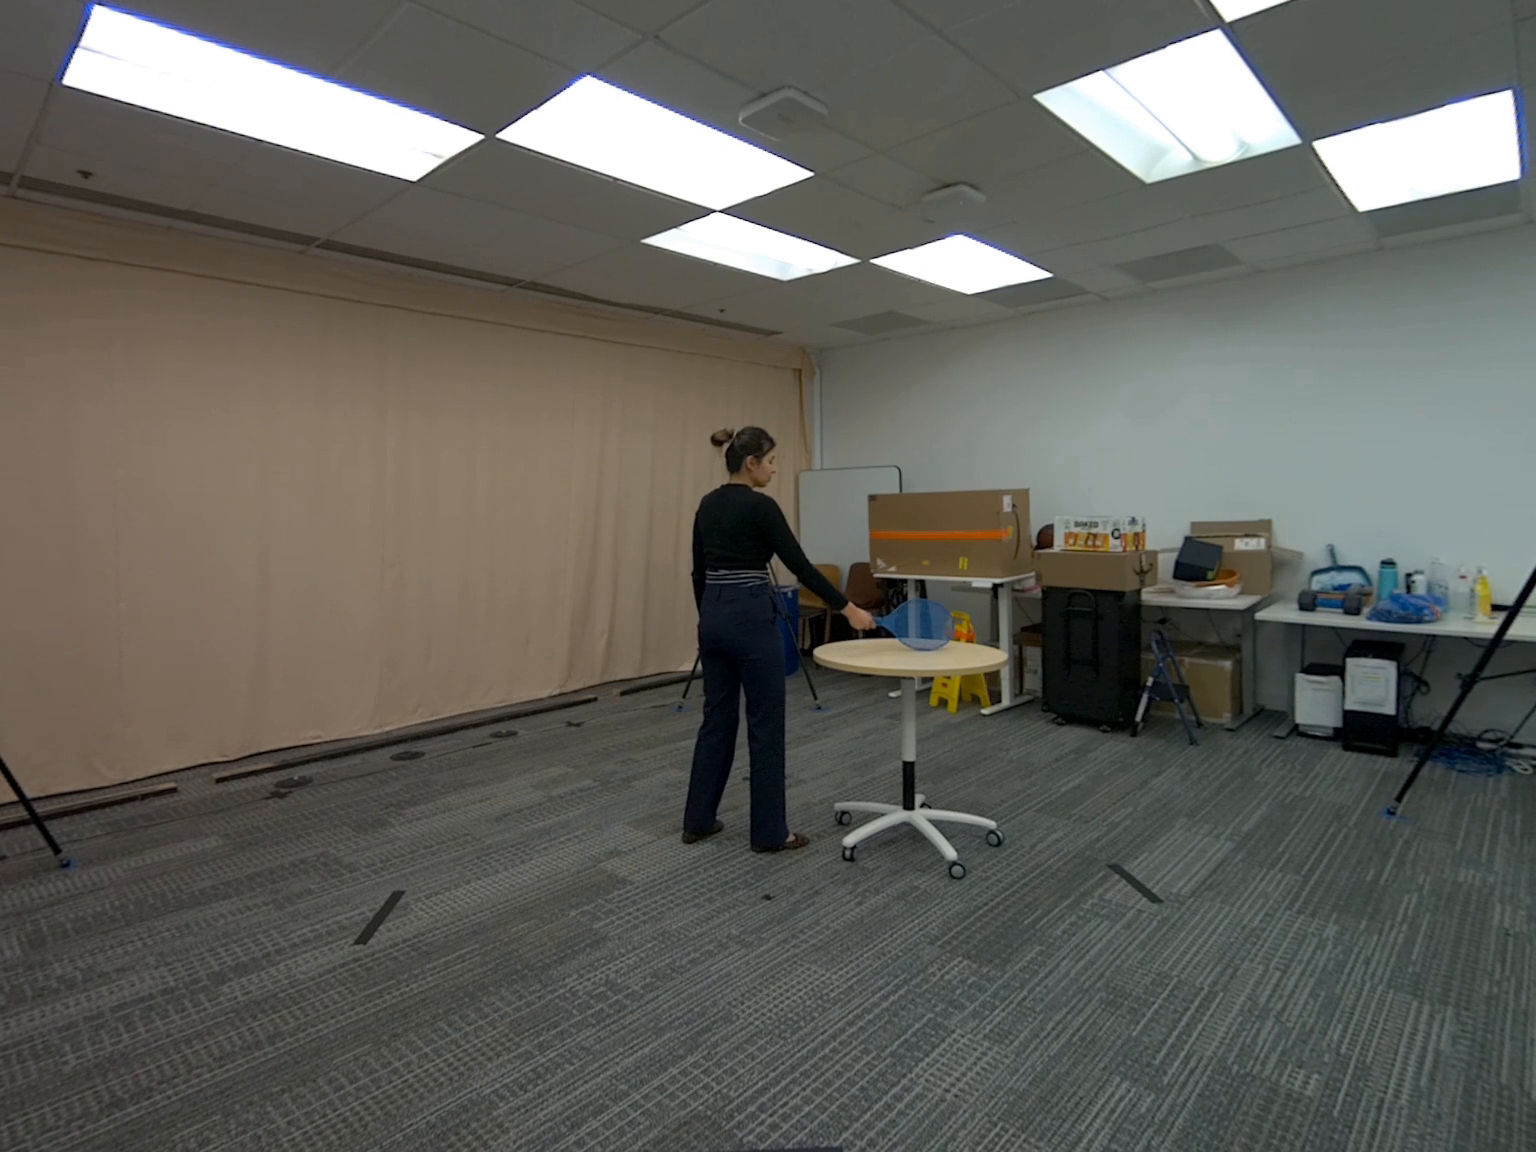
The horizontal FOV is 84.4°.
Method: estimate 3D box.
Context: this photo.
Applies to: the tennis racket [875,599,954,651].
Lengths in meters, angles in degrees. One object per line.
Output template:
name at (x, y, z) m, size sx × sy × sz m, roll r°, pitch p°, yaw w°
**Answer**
tennis racket at (0.565, 0.195, 3.442) m, size 0.431 × 0.215 × 0.032 m, roll 3°, pitch -10°, yaw -3°
